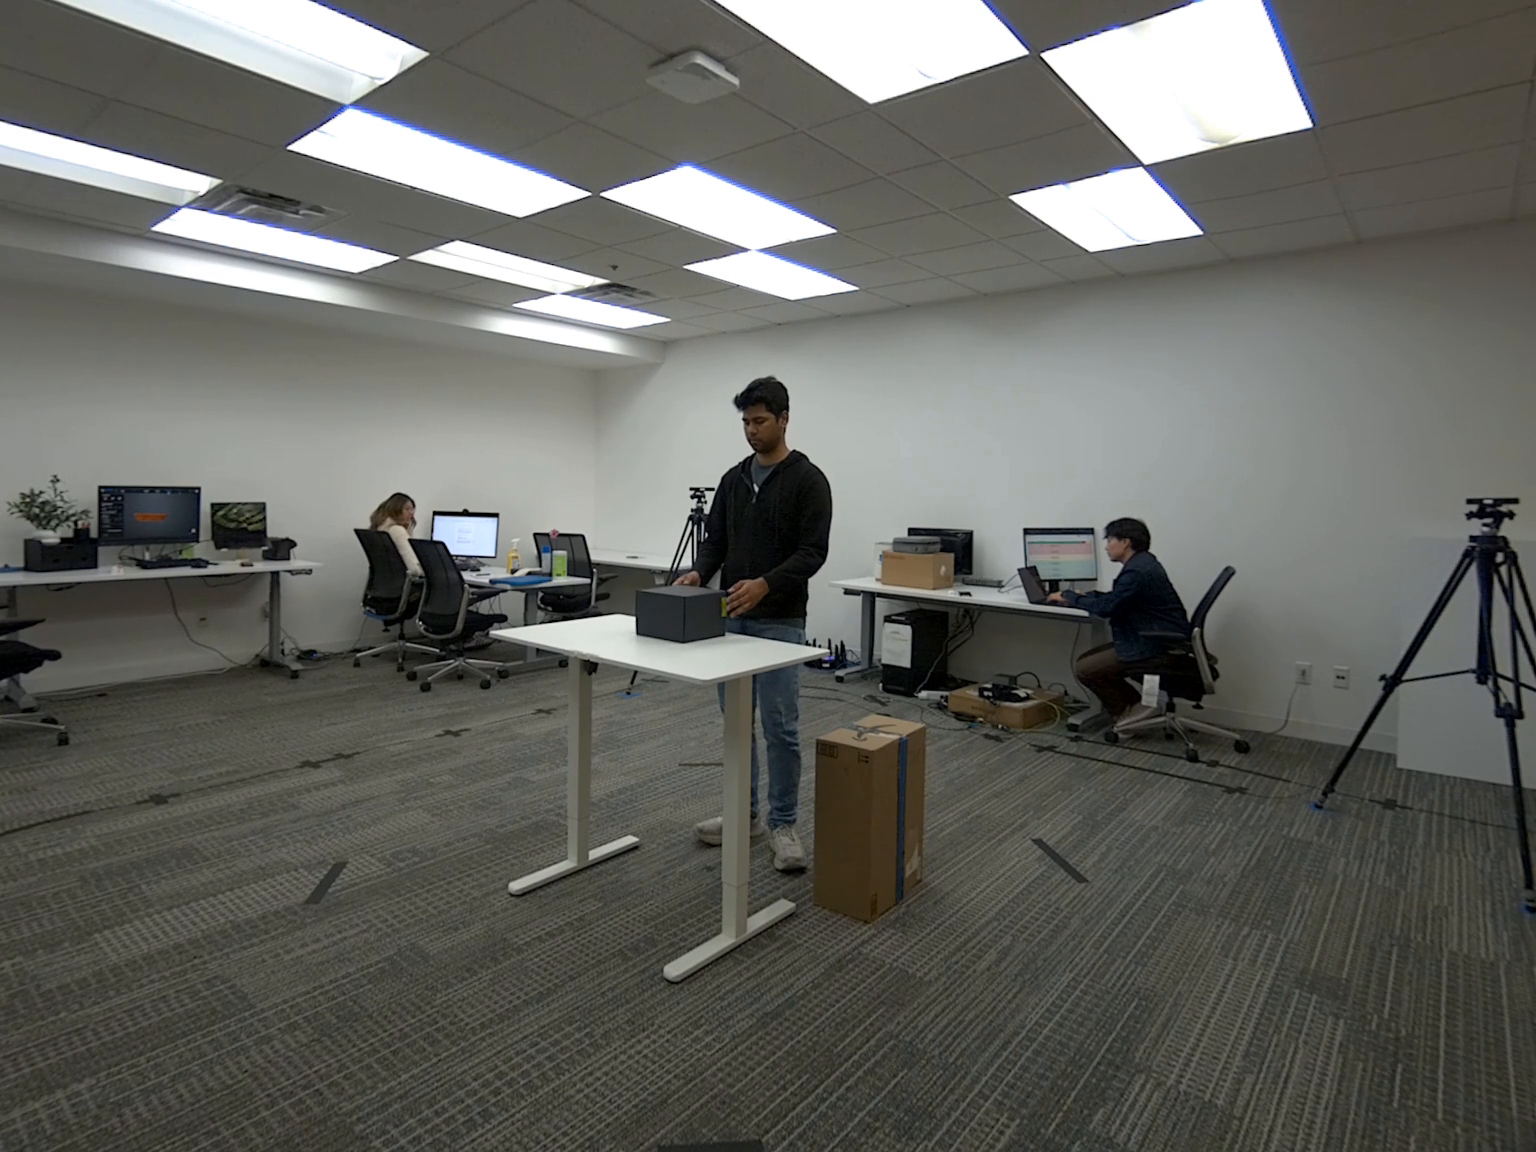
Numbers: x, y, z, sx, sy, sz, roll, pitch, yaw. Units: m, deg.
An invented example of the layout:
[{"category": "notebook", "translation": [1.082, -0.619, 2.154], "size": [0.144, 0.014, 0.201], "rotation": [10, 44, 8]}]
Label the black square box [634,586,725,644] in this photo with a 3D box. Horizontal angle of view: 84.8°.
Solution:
[{"category": "black square box", "translation": [-0.306, 0.122, 2.900], "size": [0.236, 0.155, 0.210], "rotation": [6, 6, 40]}]
